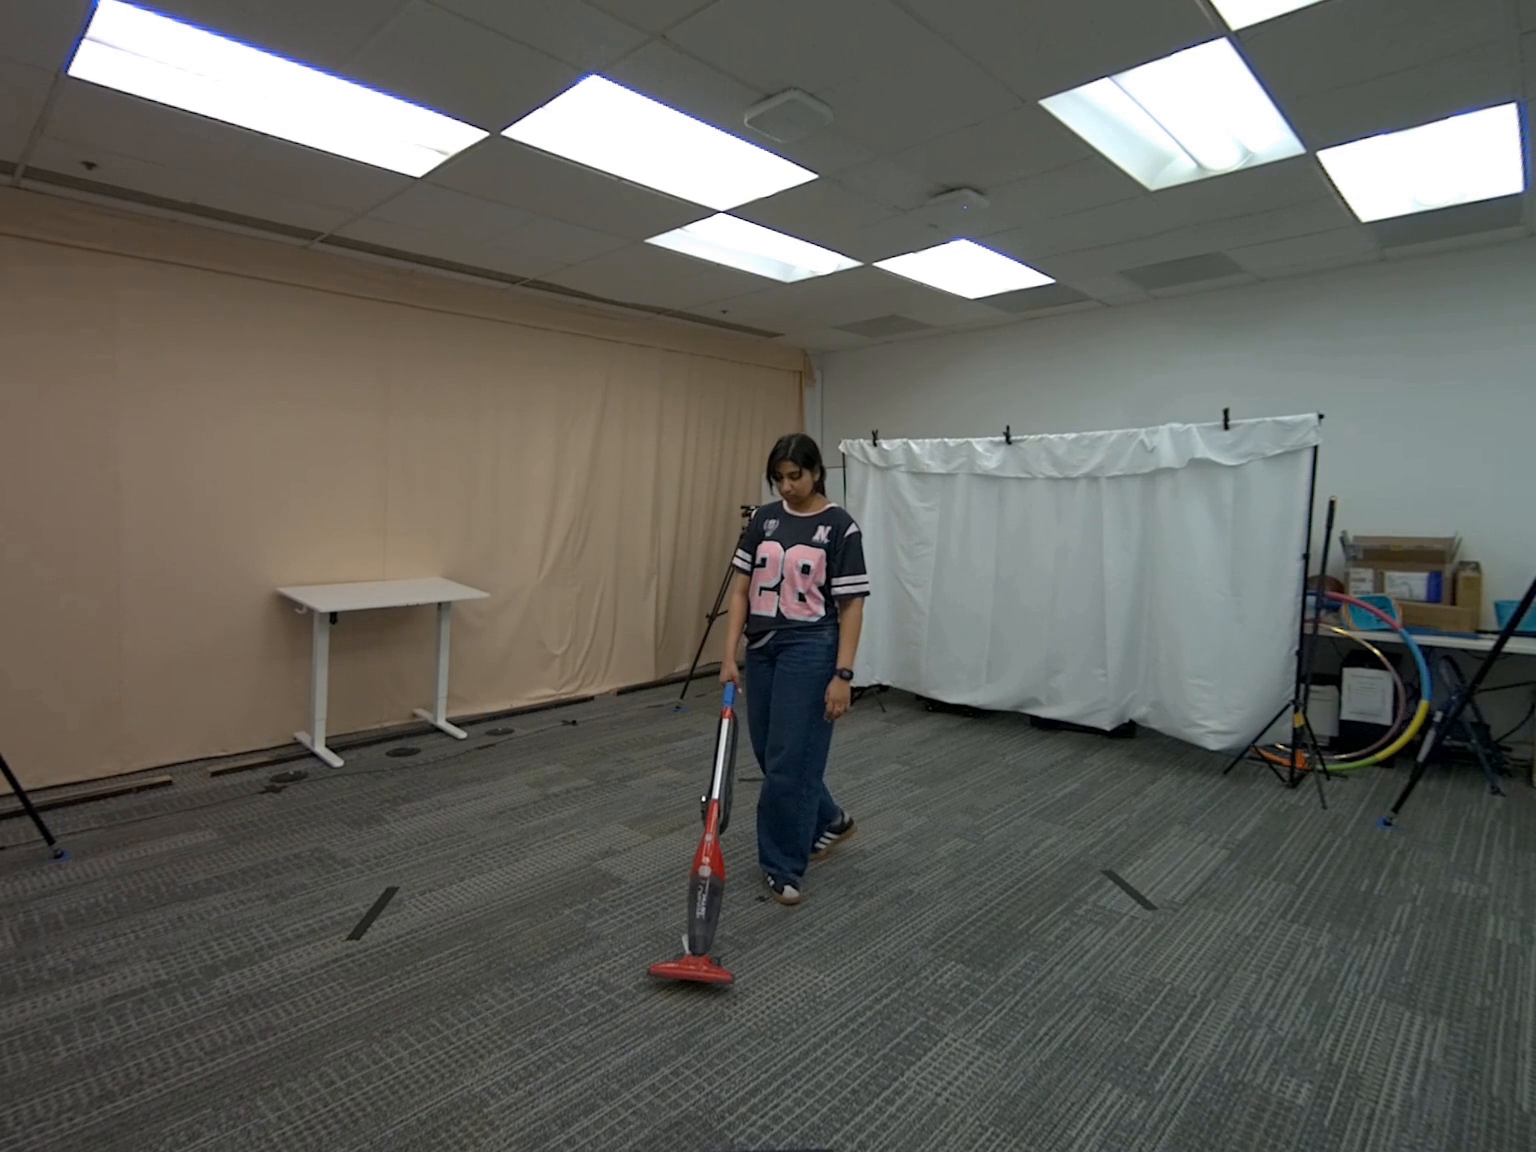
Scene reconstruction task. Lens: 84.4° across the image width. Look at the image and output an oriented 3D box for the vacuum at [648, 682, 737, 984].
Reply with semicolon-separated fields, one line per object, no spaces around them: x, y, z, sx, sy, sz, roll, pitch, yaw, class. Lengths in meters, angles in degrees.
-0.160;0.758;2.783;0.256;1.063;0.140;-2;-40;12;vacuum
